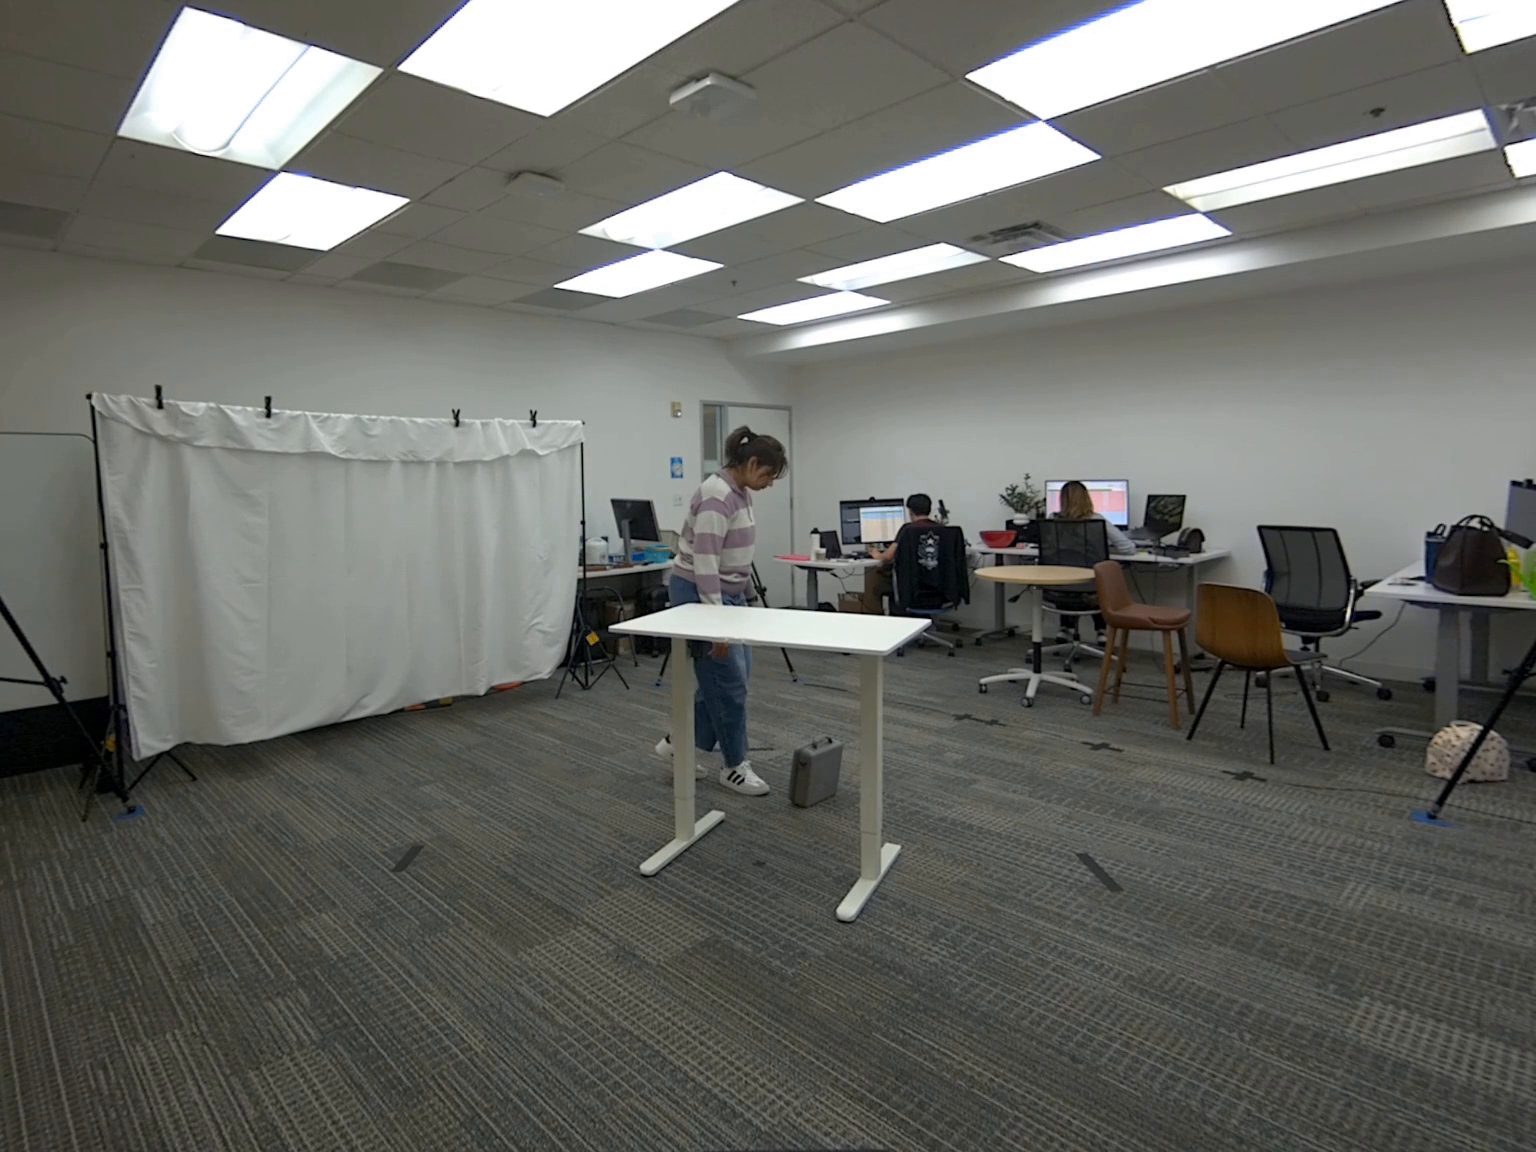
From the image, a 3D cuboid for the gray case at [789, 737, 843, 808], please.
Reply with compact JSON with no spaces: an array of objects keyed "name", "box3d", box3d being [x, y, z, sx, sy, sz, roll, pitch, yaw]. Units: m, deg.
[{"name":"gray case","box3d":[0.214,0.844,3.717,0.108,0.258,0.250,15,13,39]}]
